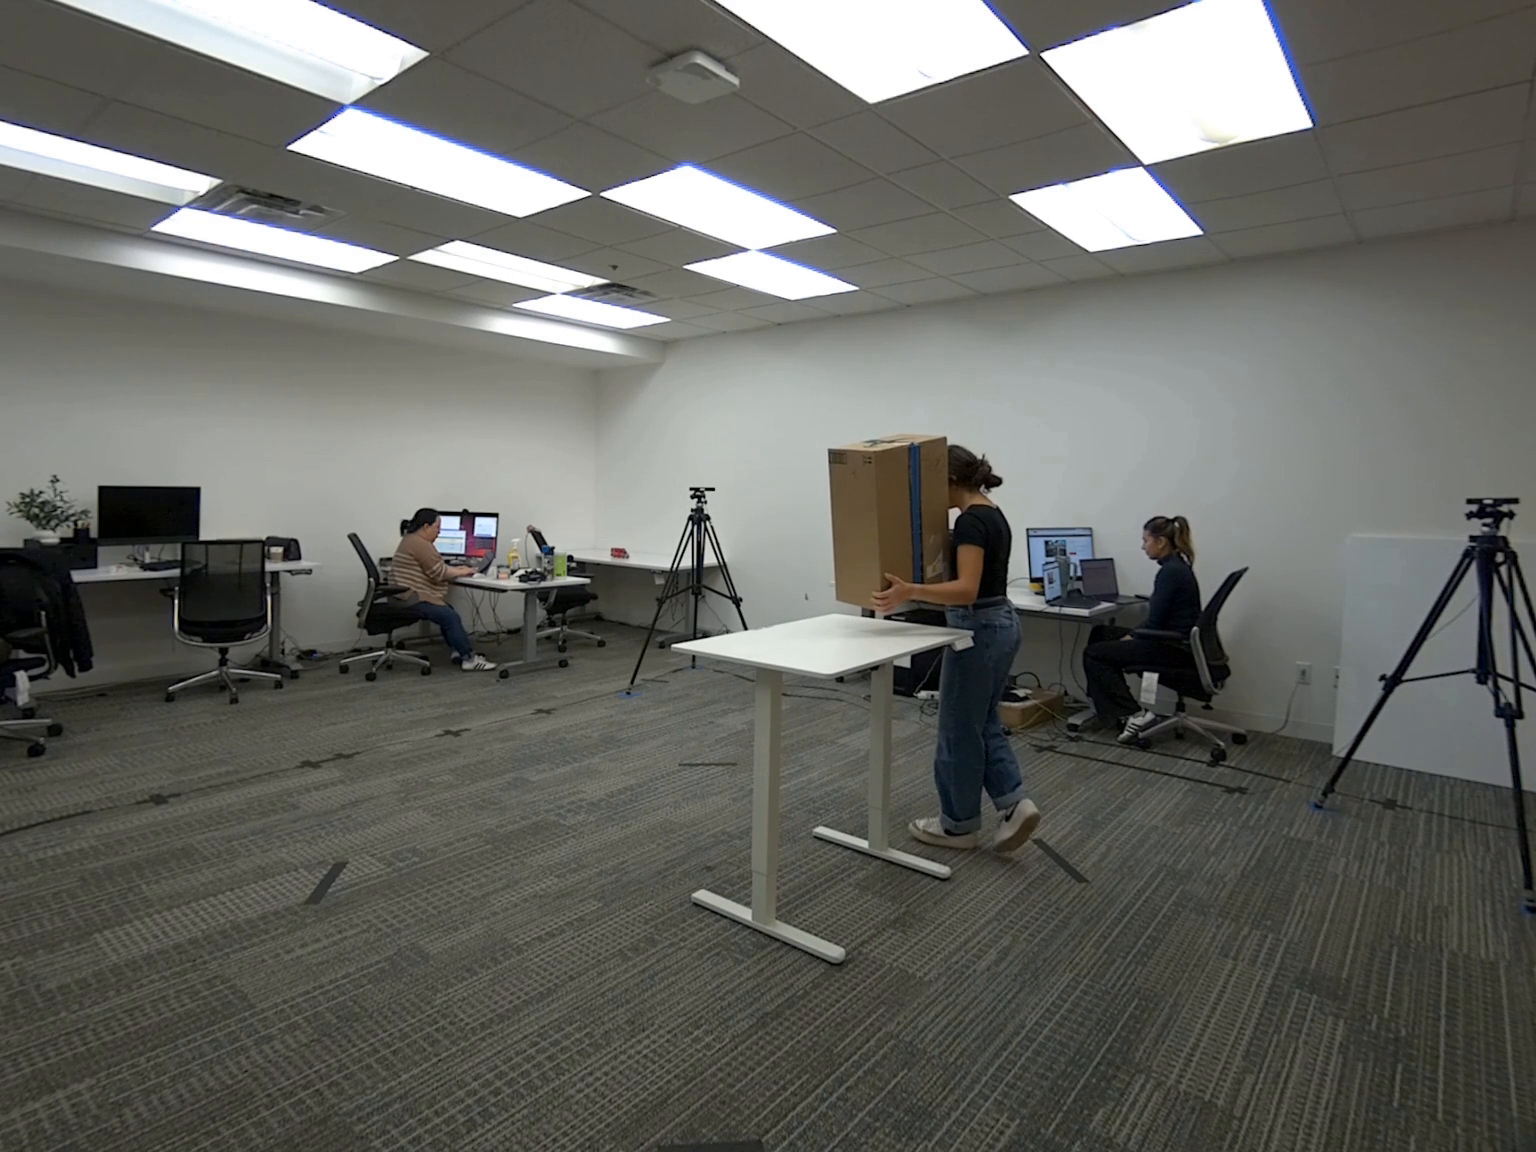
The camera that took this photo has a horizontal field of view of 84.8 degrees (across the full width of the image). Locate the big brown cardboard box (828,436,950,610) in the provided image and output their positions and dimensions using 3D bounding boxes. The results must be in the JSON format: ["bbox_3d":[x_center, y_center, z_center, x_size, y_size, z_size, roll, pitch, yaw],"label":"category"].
[{"bbox_3d":[0.444,-0.209,3.107,0.408,0.581,0.241,-16,17,-40],"label":"big brown cardboard box"}]
